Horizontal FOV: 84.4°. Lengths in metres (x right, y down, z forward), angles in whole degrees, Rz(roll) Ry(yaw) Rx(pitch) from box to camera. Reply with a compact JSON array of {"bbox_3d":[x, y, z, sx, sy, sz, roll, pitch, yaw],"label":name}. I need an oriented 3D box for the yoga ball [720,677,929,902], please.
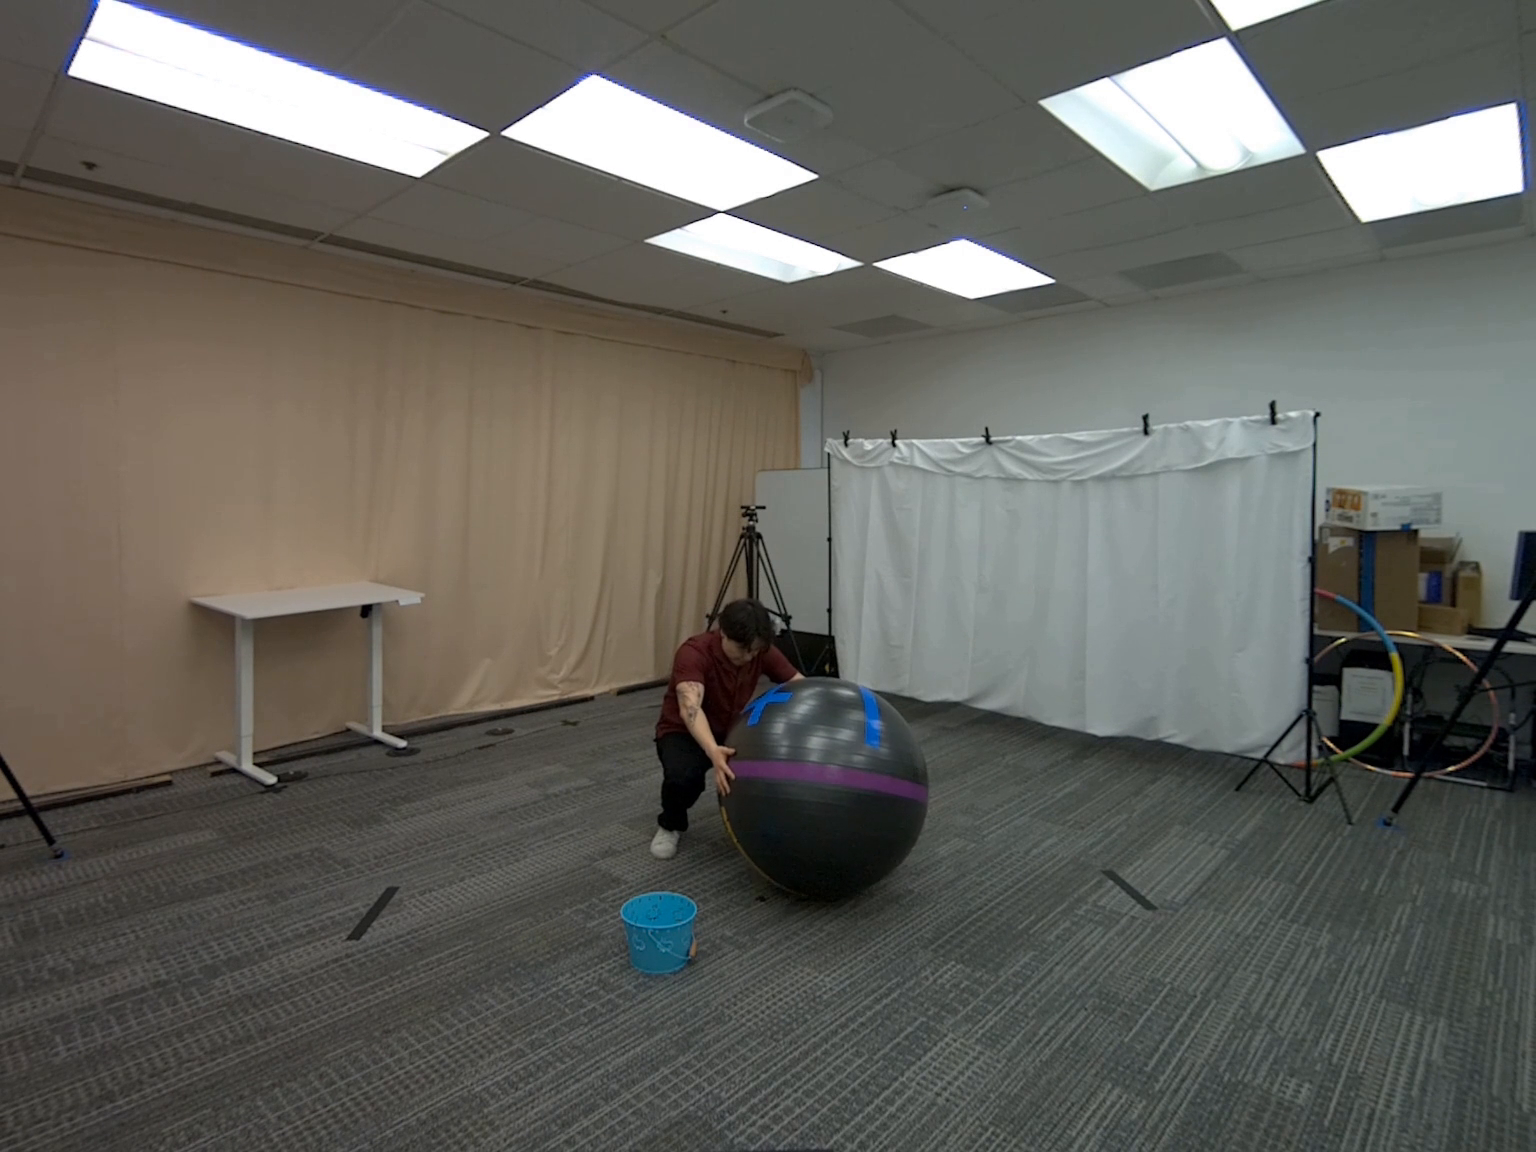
[{"bbox_3d":[0.202,0.749,3.058,0.757,0.756,0.760,0,4,-2],"label":"yoga ball"}]
